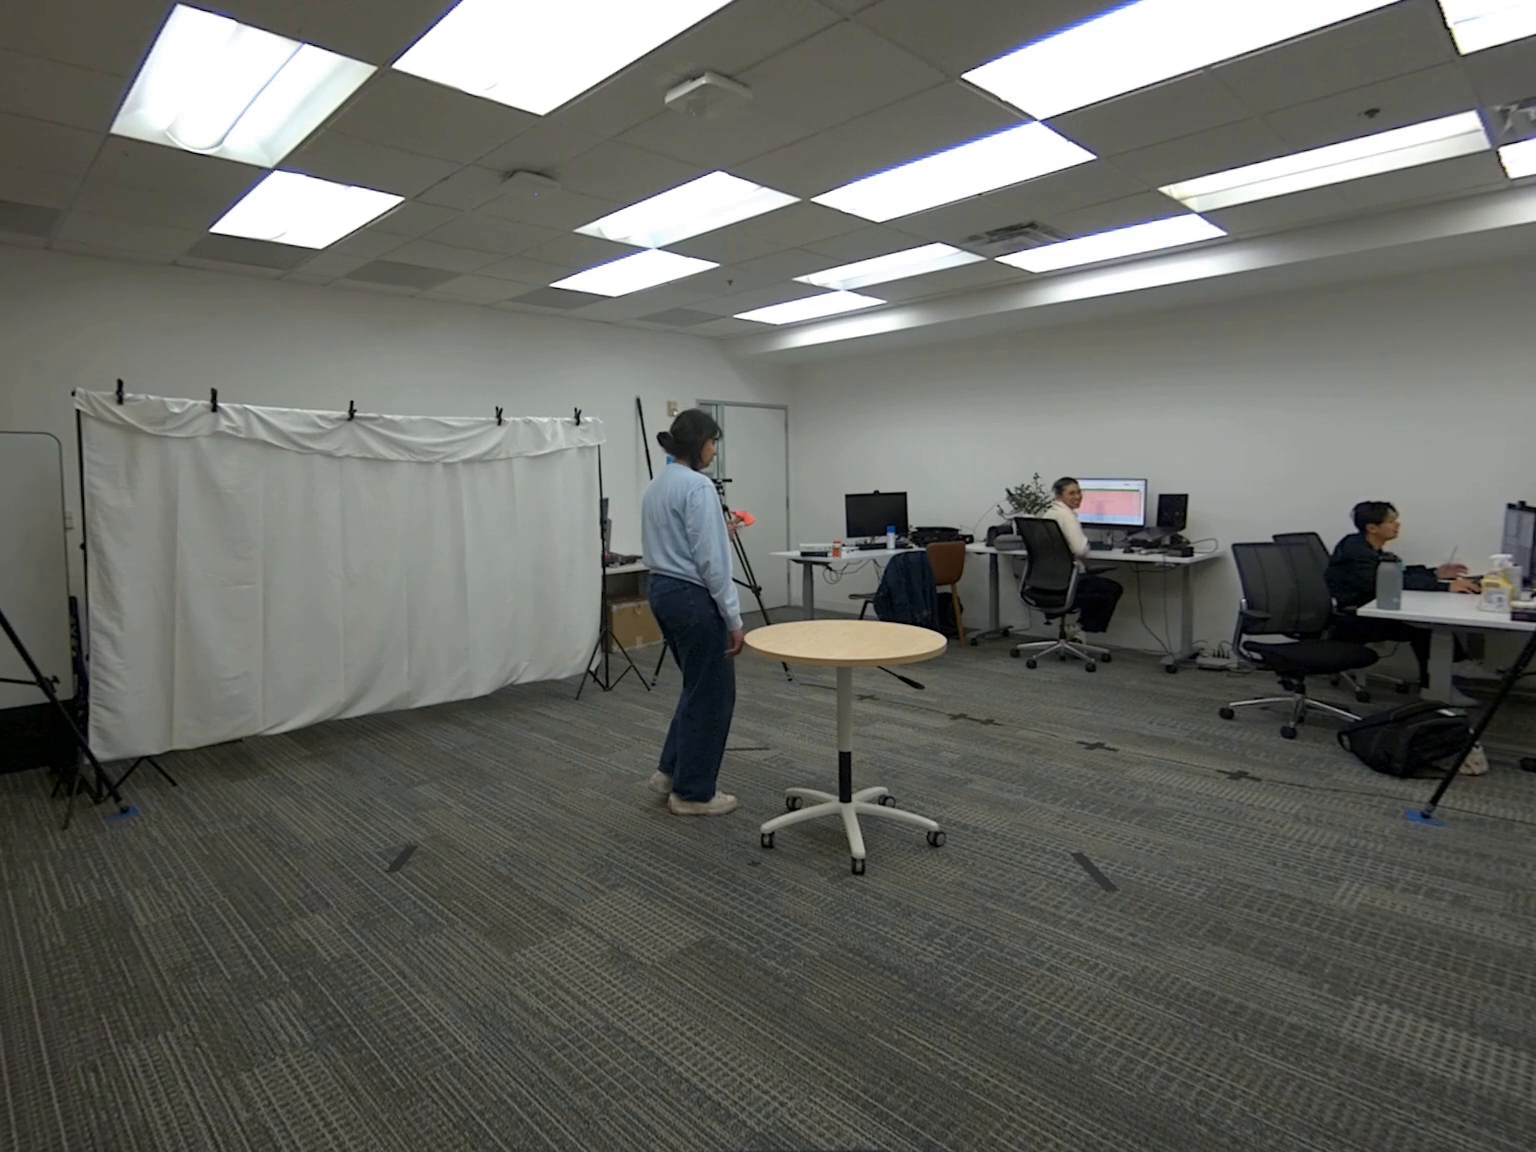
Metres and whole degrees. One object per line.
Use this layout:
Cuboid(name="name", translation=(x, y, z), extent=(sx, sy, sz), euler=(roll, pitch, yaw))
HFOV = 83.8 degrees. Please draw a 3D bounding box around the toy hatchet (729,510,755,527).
Cuboid(name="toy hatchet", translation=(-0.142, -0.208, 3.784), extent=(0.132, 0.029, 0.274), euler=(12, 39, 6))
